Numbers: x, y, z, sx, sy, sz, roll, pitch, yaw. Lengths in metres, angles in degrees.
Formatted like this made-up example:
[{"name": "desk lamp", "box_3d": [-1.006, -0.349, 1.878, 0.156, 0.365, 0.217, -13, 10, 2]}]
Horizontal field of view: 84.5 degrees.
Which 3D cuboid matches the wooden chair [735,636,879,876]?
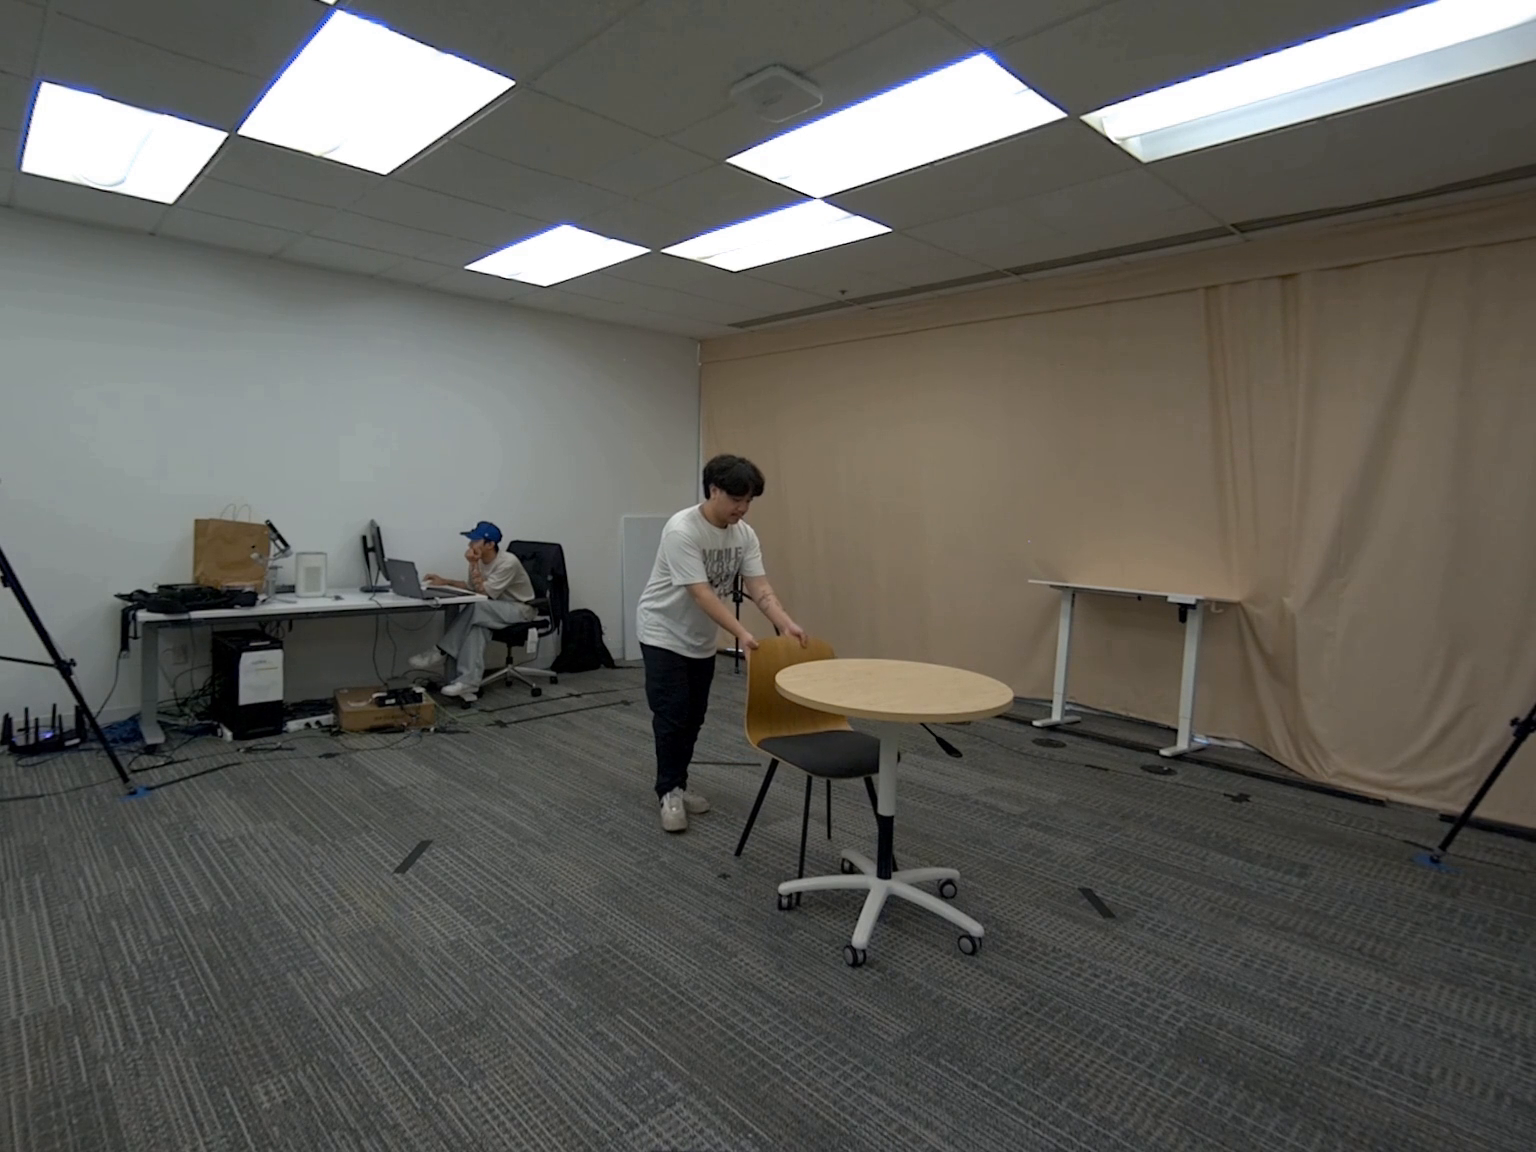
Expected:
[{"name": "wooden chair", "box_3d": [0.183, 0.682, 3.147, 0.468, 0.878, 0.533, 0, -1, -29]}]
